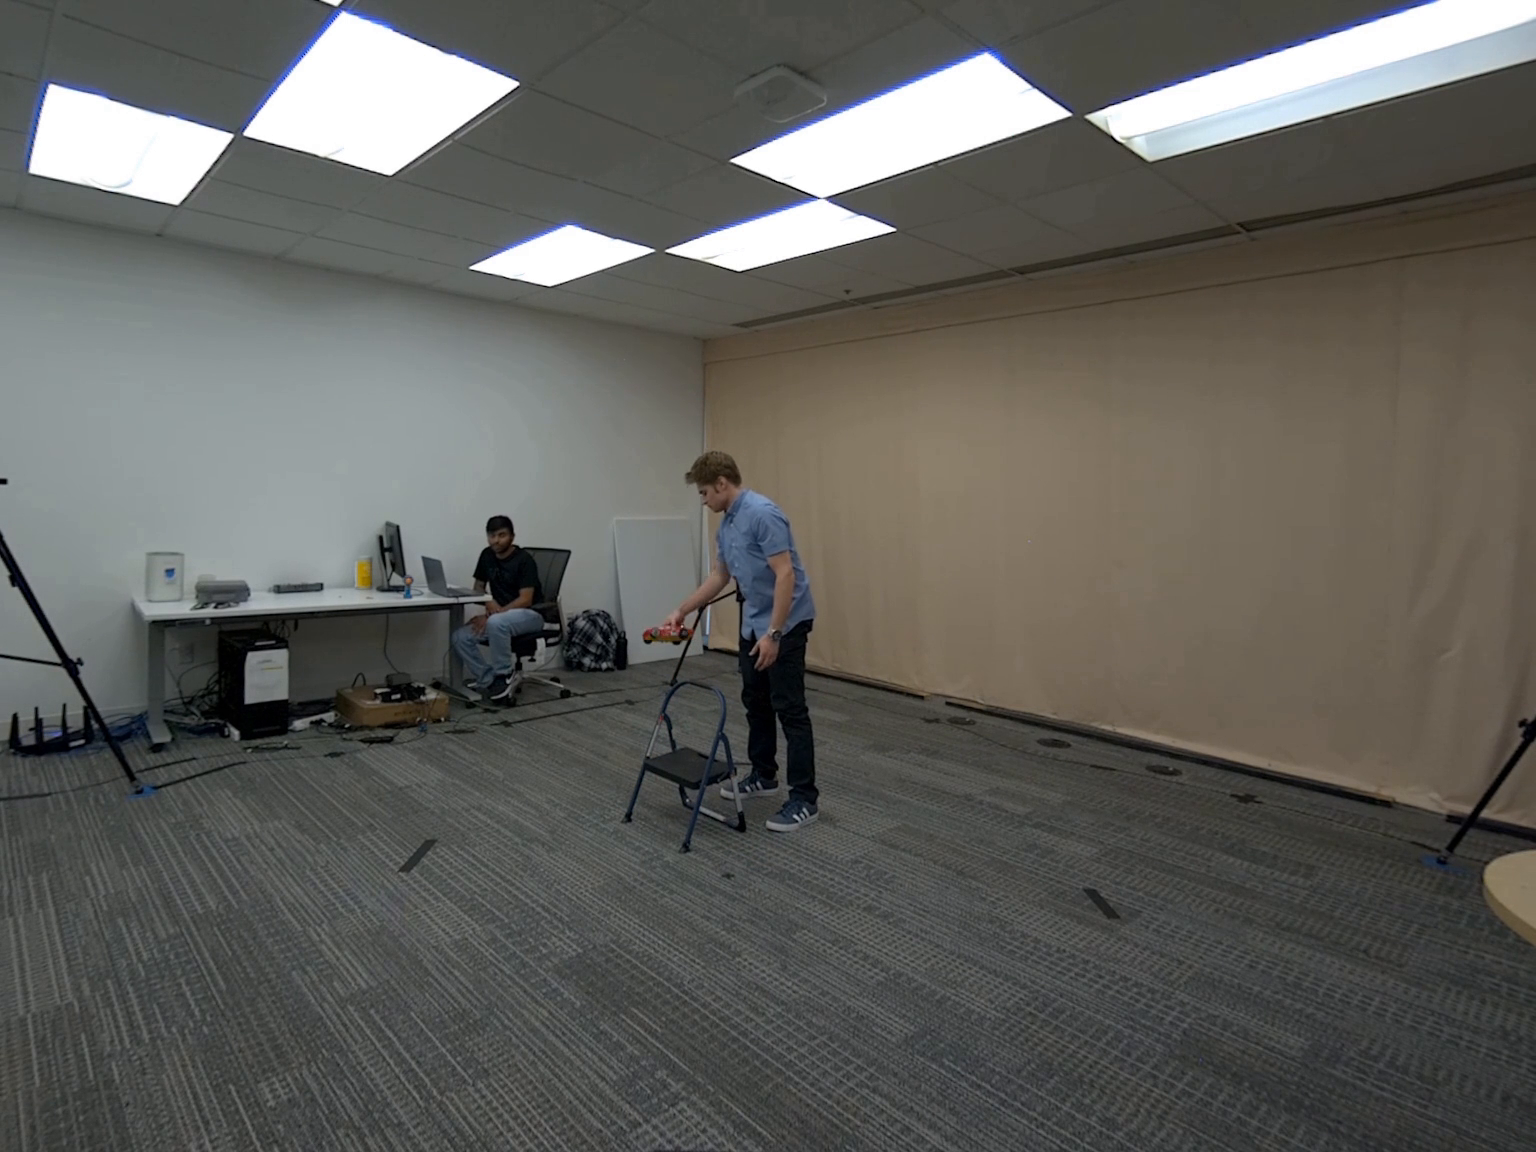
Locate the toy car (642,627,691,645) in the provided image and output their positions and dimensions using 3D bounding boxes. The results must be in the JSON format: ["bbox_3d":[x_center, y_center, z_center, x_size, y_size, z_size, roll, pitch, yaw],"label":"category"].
[{"bbox_3d":[-0.469,0.286,4.000,0.250,0.085,0.130,-7,-21,-30],"label":"toy car"}]
